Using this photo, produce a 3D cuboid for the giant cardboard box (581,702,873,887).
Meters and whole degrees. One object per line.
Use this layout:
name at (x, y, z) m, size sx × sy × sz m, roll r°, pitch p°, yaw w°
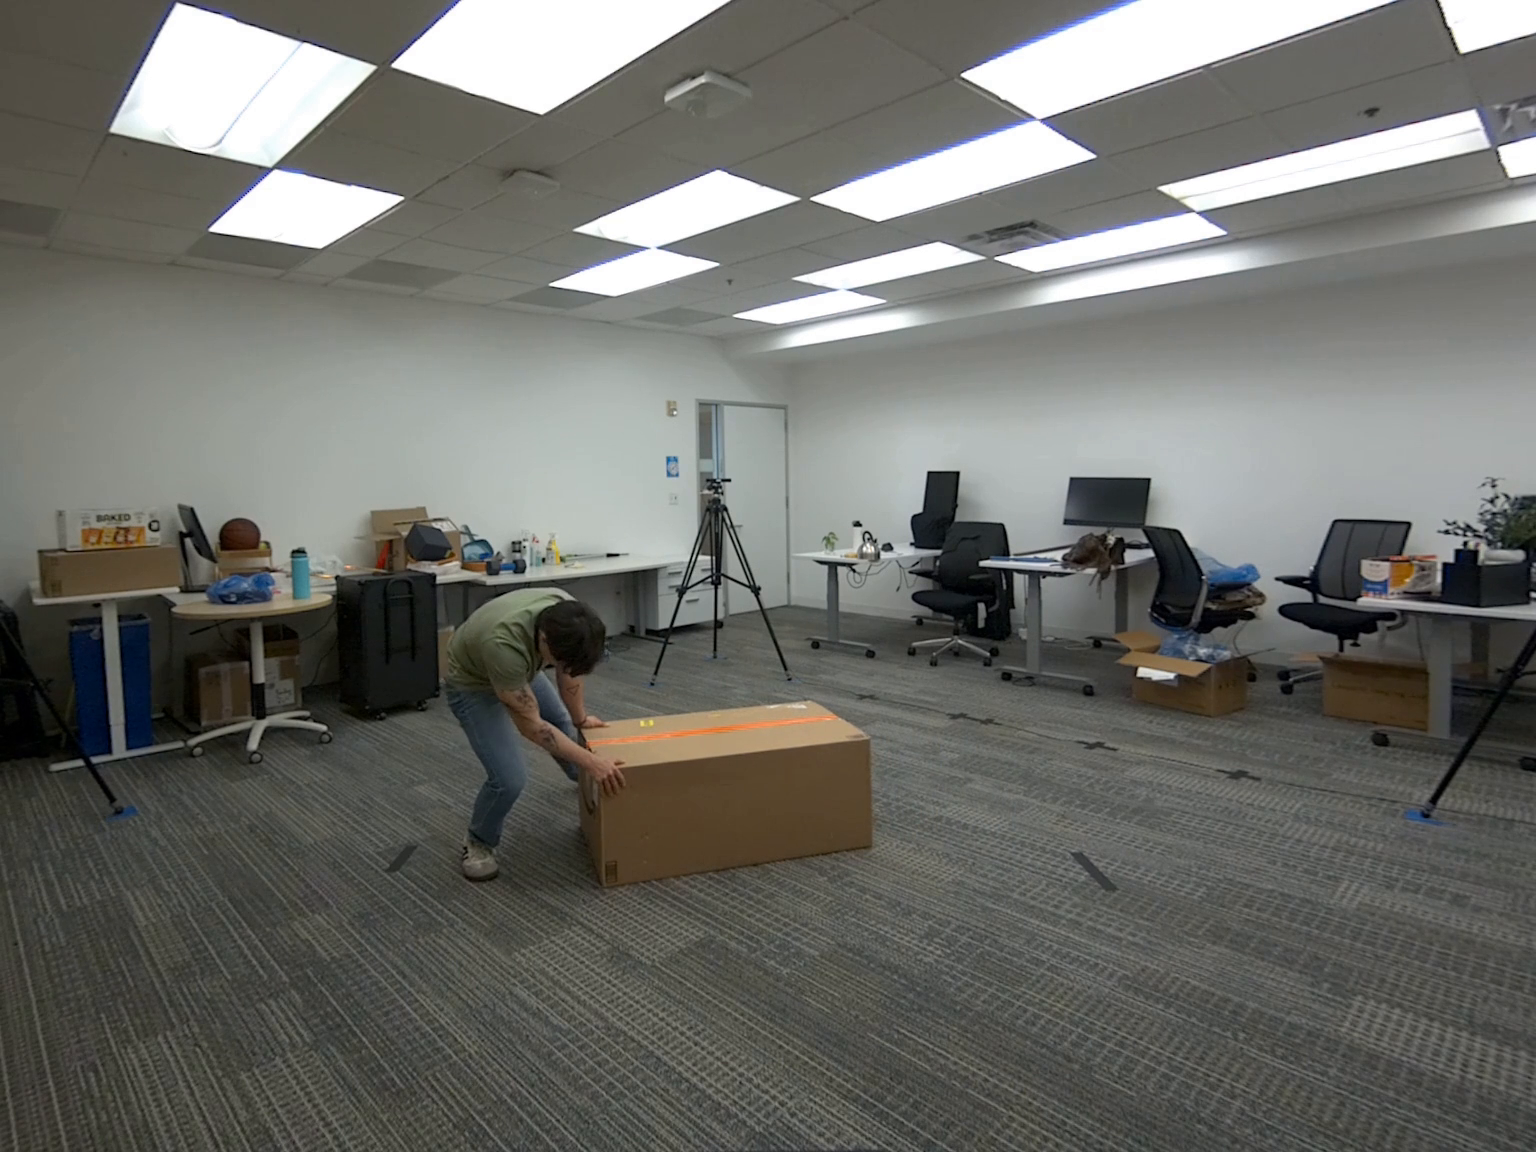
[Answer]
giant cardboard box at (-0.183, 0.804, 3.337) m, size 1.010 × 0.424 × 0.589 m, roll -4°, pitch 6°, yaw -18°
